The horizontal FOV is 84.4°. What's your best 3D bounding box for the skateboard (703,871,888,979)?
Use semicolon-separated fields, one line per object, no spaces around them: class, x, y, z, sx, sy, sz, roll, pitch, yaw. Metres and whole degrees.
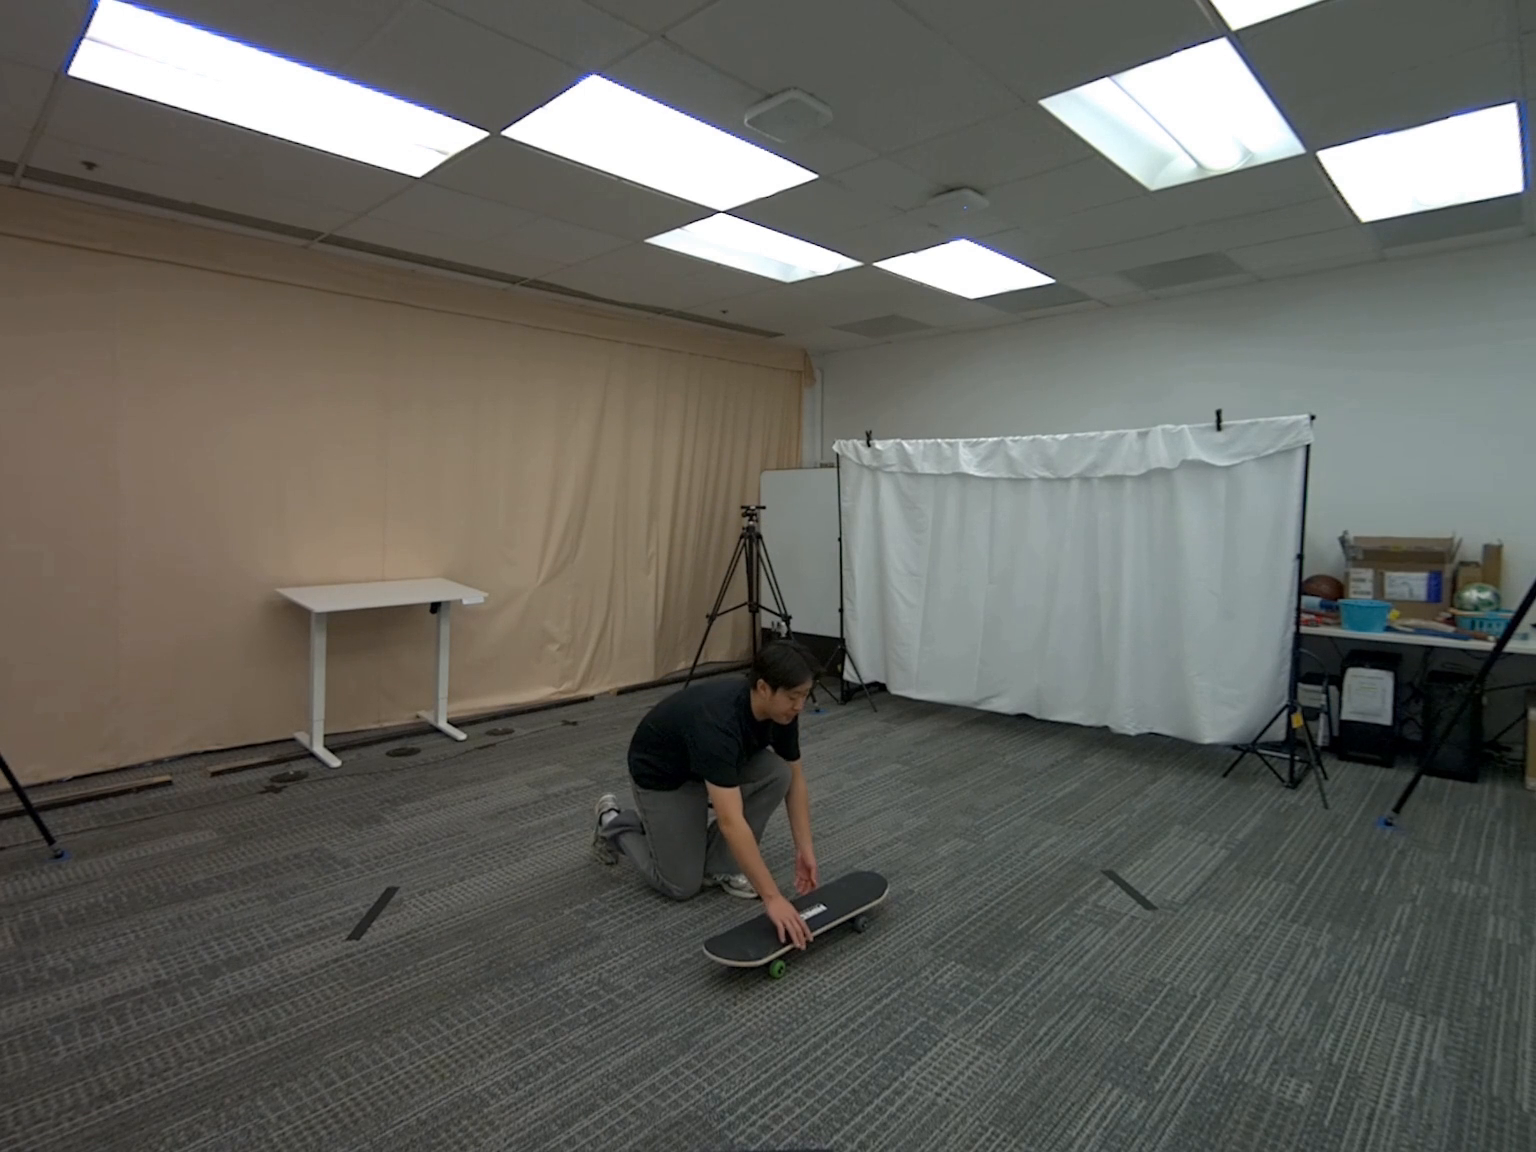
skateboard;0.113;1.108;2.680;0.761;0.110;0.200;-5;6;-44
